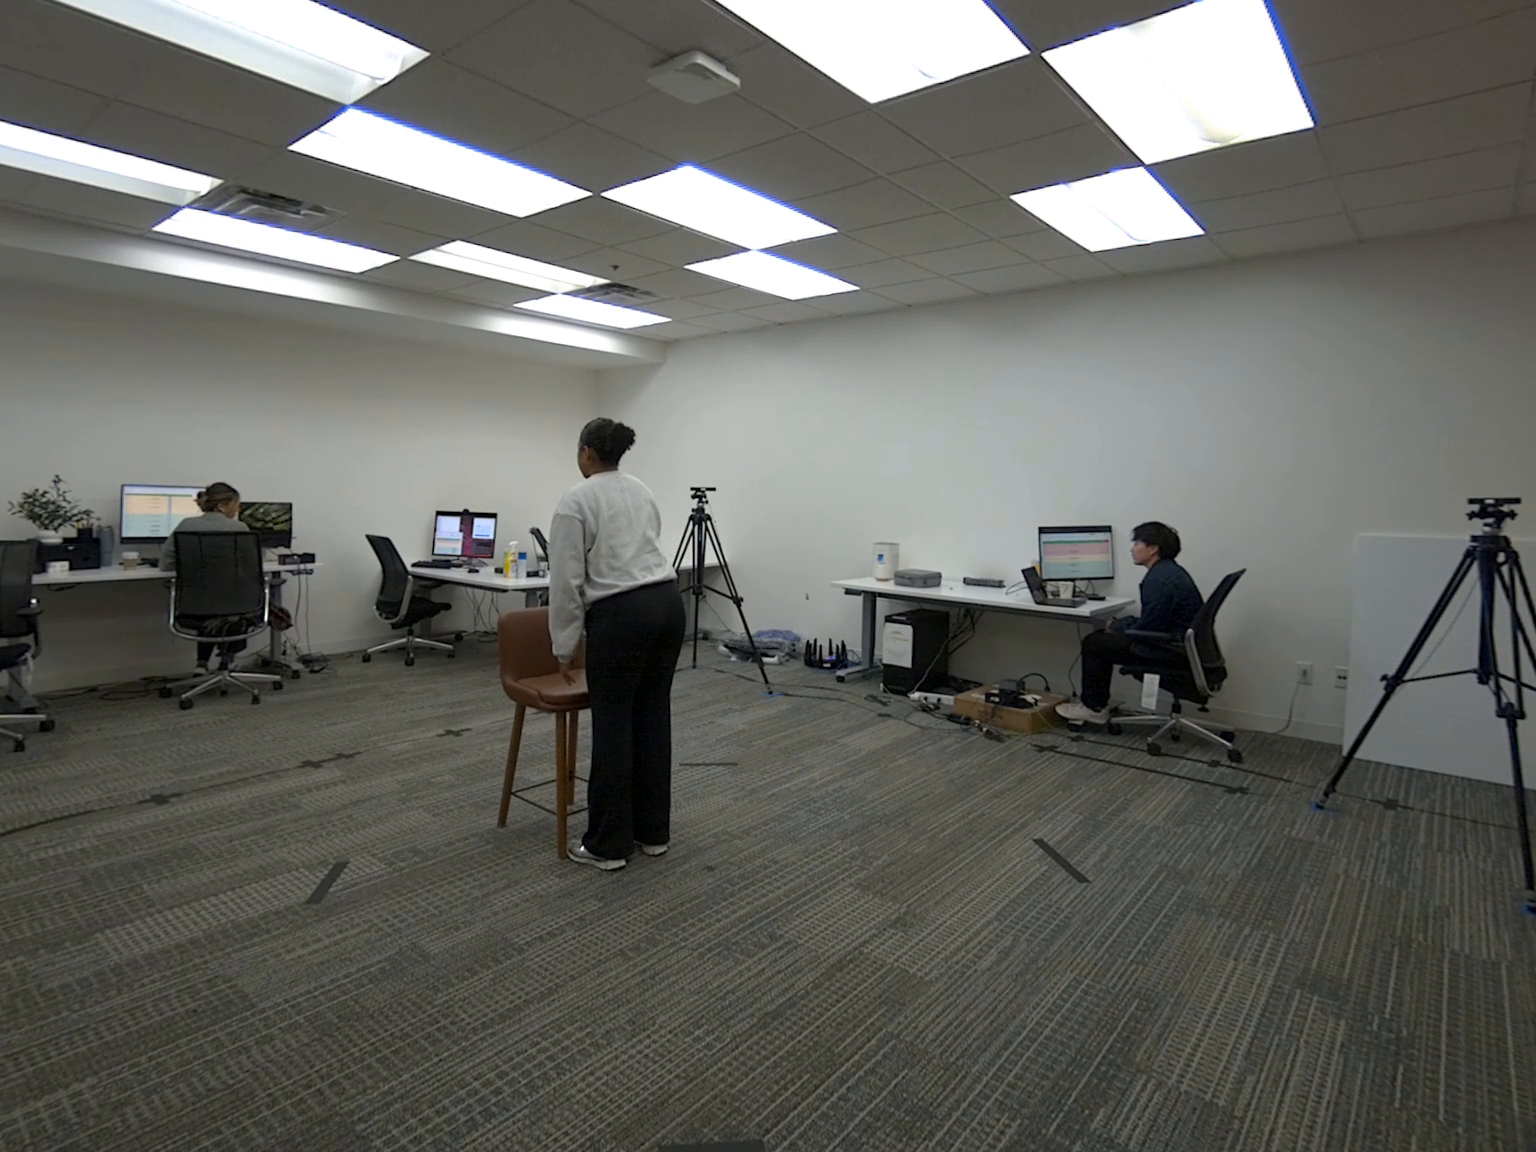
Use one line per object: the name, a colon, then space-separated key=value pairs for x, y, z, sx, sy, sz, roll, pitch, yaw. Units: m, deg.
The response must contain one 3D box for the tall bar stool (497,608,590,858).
tall bar stool: x=-0.826 y=0.585 z=3.443 sx=0.483 sy=0.889 sz=0.442 roll=1 pitch=2 yaw=41
